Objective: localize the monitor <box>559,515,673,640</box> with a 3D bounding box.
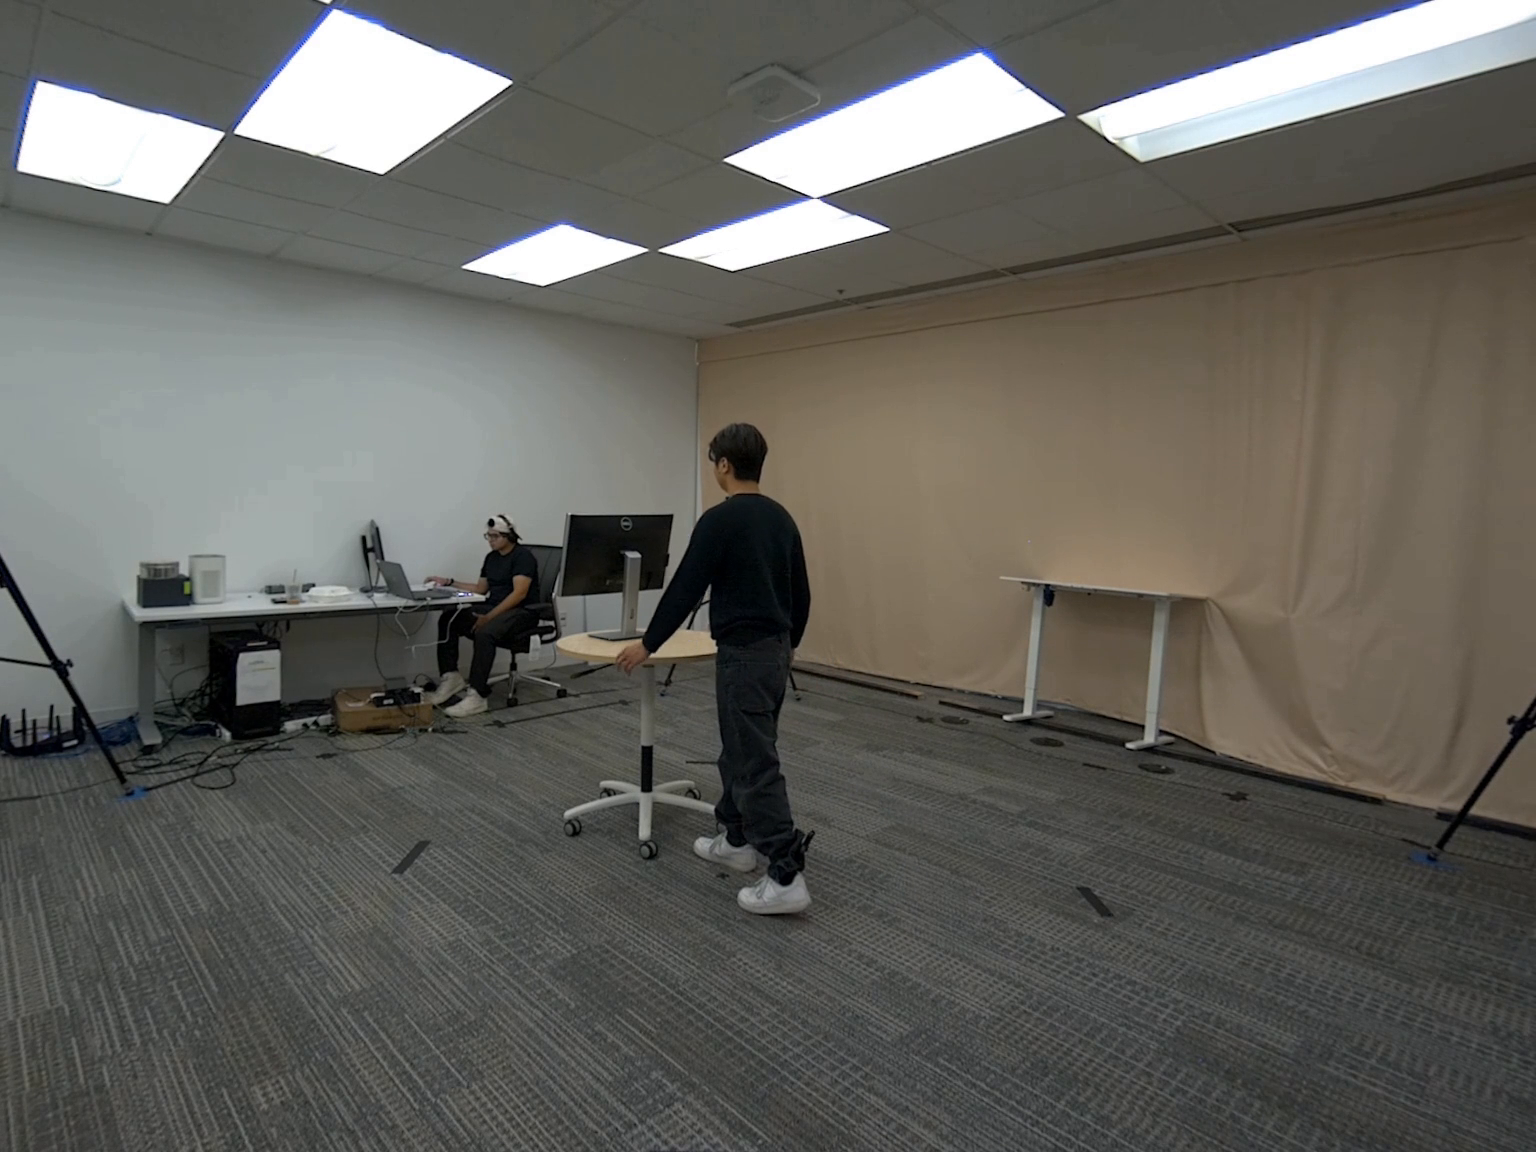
[{"bbox_3d":[-0.649,0.000,3.683,0.192,0.522,0.527,2,4,42],"label":"monitor"}]
